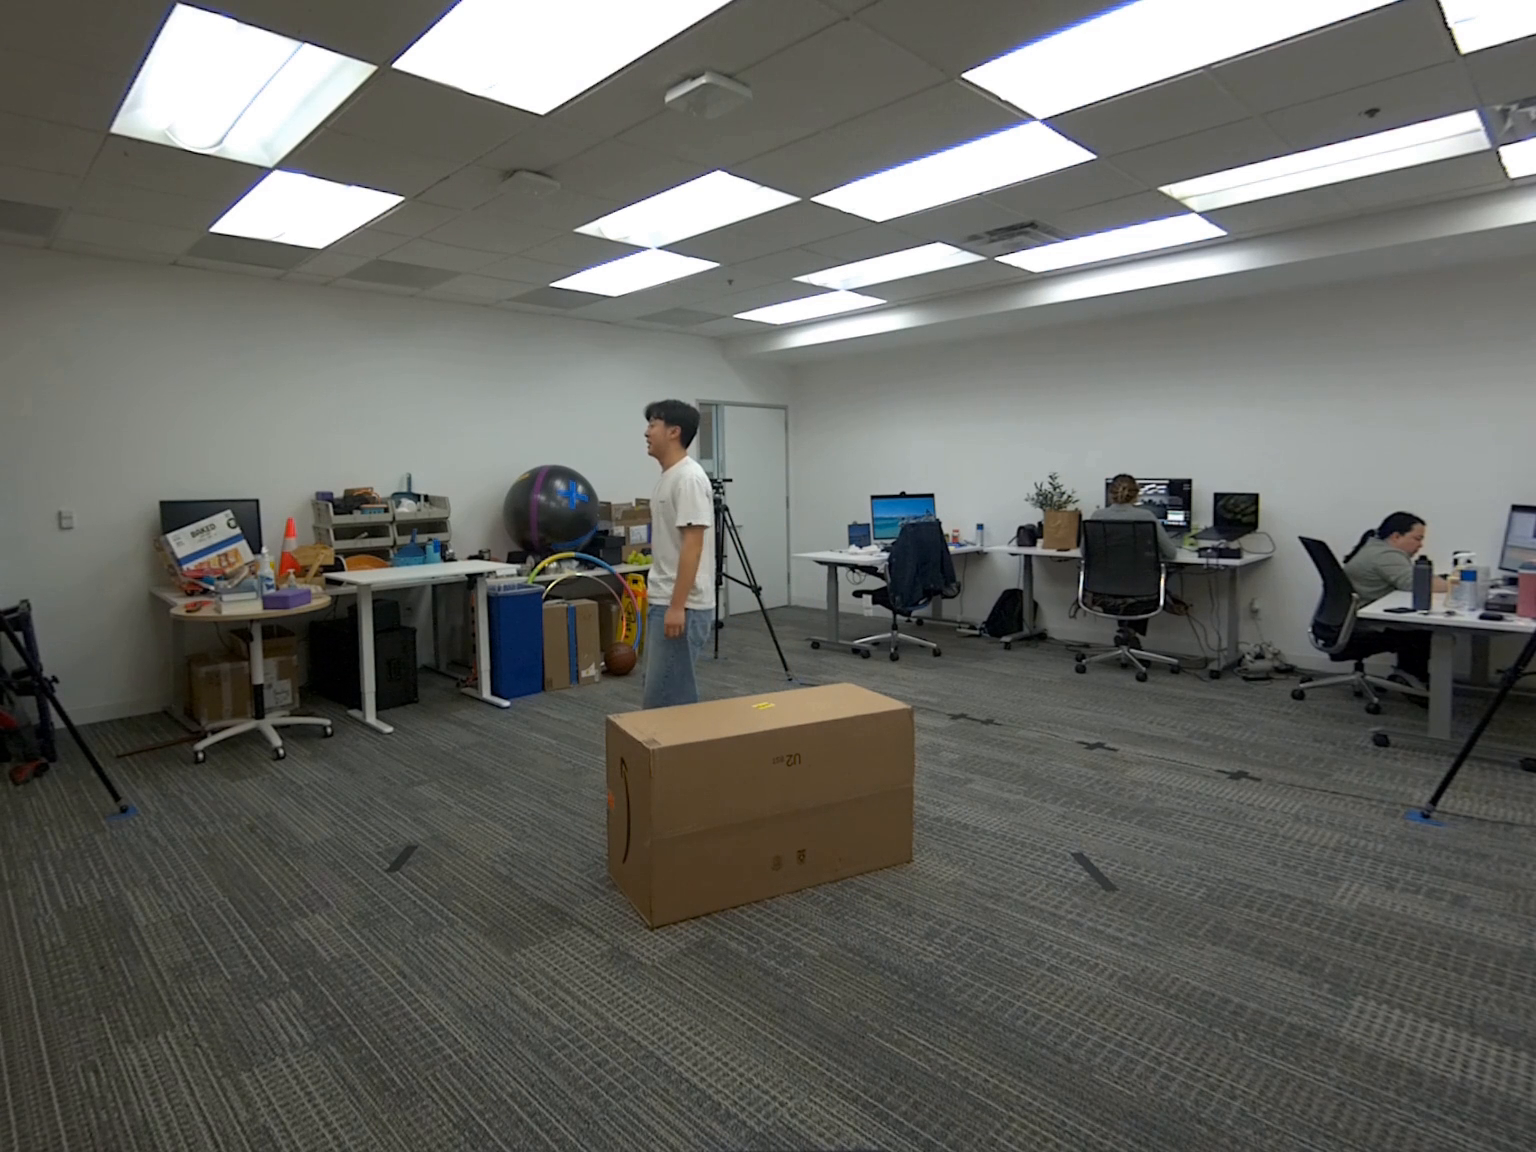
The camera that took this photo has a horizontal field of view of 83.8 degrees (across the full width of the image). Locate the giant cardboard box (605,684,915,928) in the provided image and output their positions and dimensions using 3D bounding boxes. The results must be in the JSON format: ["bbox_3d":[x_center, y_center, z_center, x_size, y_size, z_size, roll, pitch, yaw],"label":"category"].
[{"bbox_3d":[-0.022,0.763,3.051,1.003,0.575,0.437,-4,5,-27],"label":"giant cardboard box"}]
